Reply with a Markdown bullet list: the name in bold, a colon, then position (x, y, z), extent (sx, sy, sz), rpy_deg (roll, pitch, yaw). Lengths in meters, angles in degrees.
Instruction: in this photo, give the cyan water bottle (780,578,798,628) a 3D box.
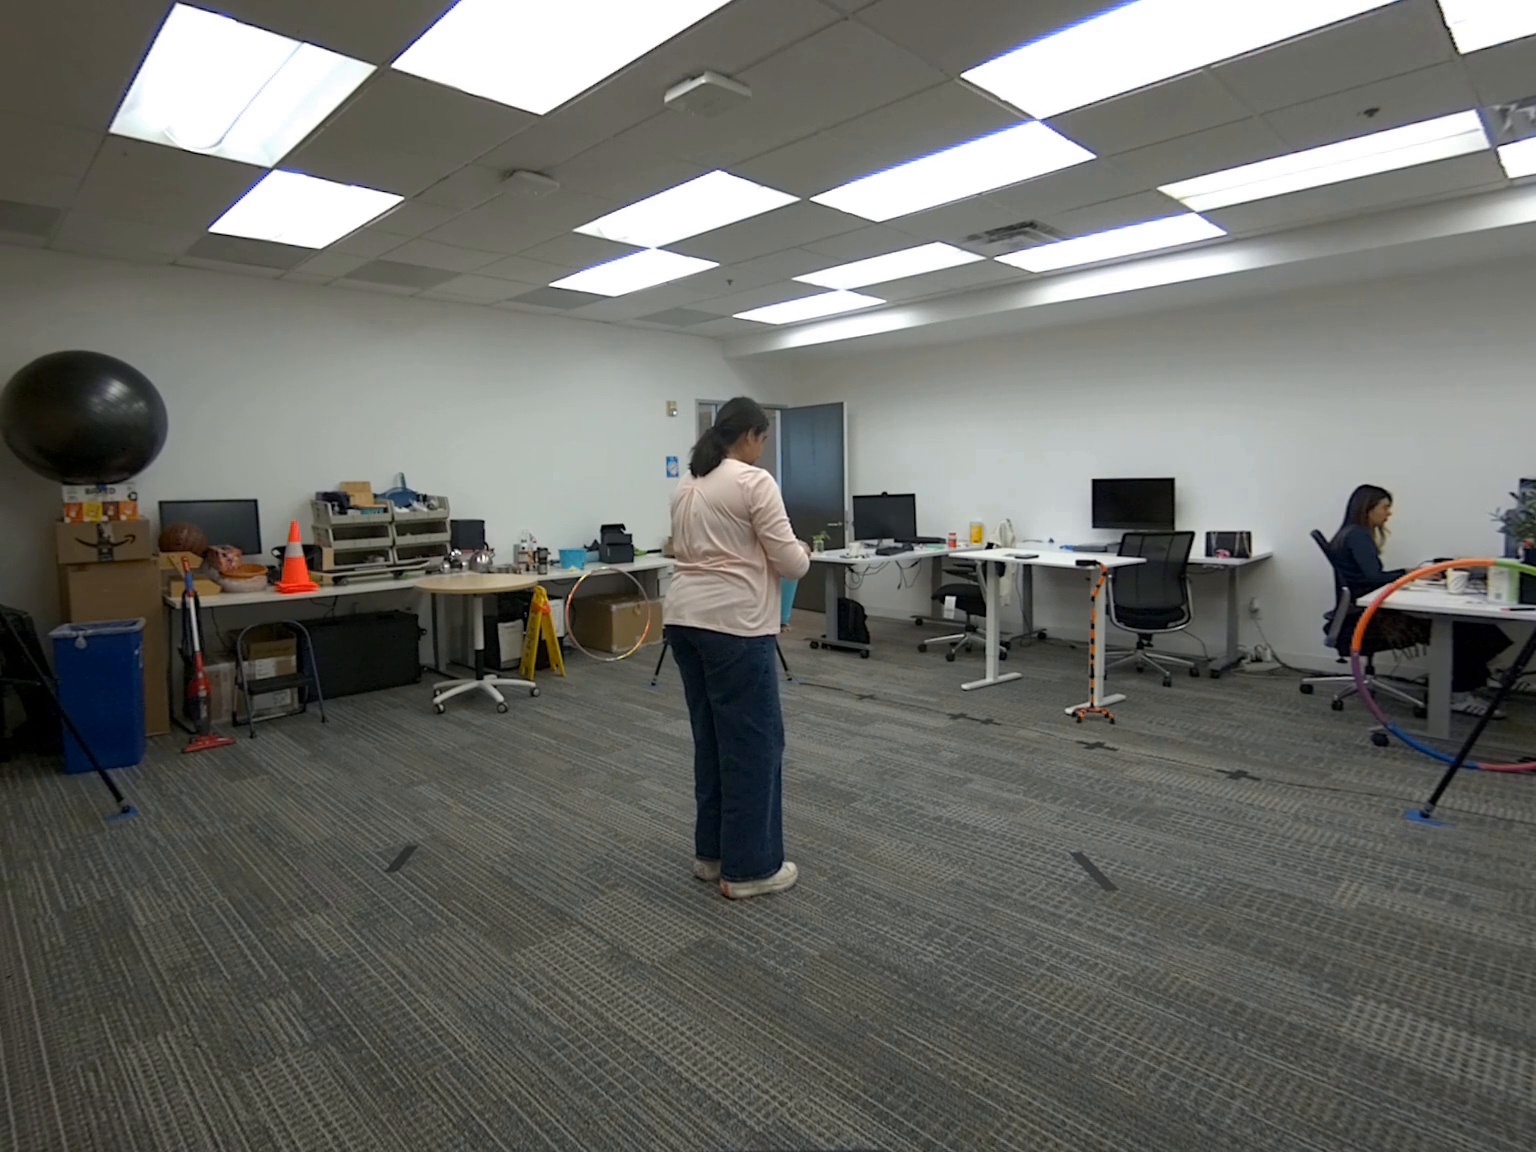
- **cyan water bottle**: position (0.063, 0.033, 3.169), extent (0.092, 0.281, 0.093), rpy_deg (9, 11, -4)
